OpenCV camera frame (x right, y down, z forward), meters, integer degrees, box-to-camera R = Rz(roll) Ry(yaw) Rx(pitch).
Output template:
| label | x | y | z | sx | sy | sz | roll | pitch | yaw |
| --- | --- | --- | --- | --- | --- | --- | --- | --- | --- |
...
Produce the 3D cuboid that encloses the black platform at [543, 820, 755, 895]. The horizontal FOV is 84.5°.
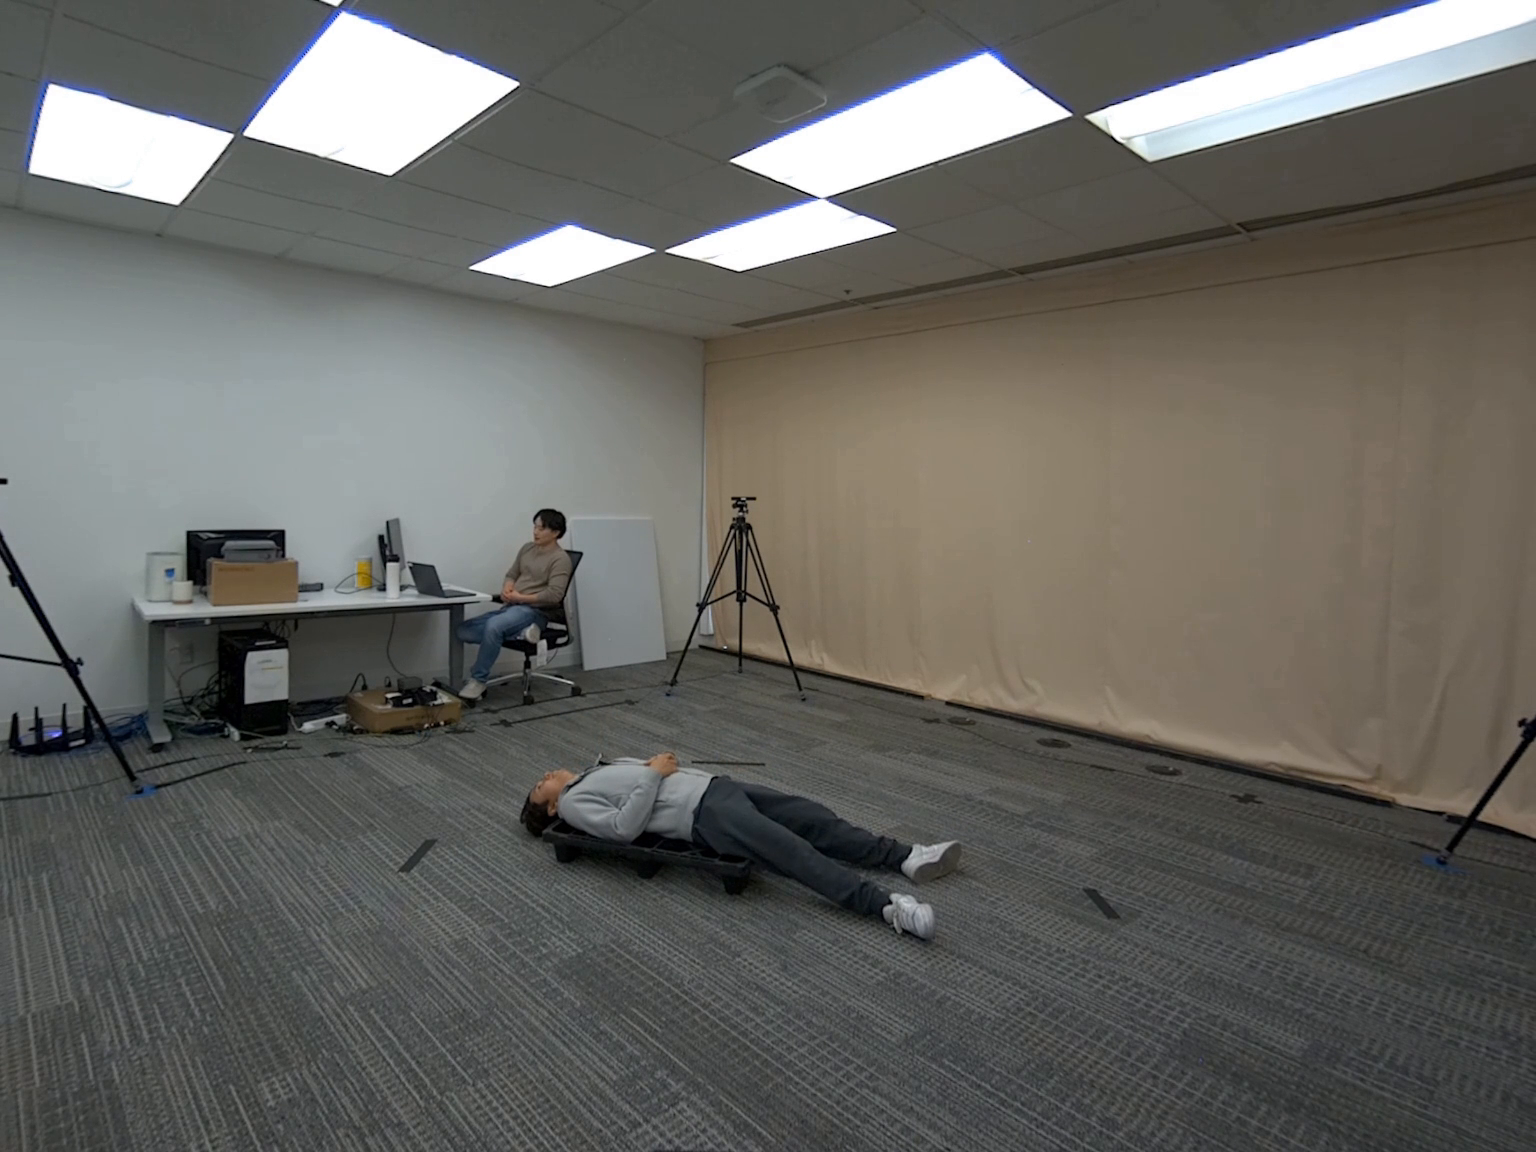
| label | x | y | z | sx | sy | sz | roll | pitch | yaw |
| --- | --- | --- | --- | --- | --- | --- | --- | --- | --- |
| black platform | -0.387 | 1.015 | 3.288 | 0.818 | 0.143 | 0.597 | 1 | 5 | 20 |
